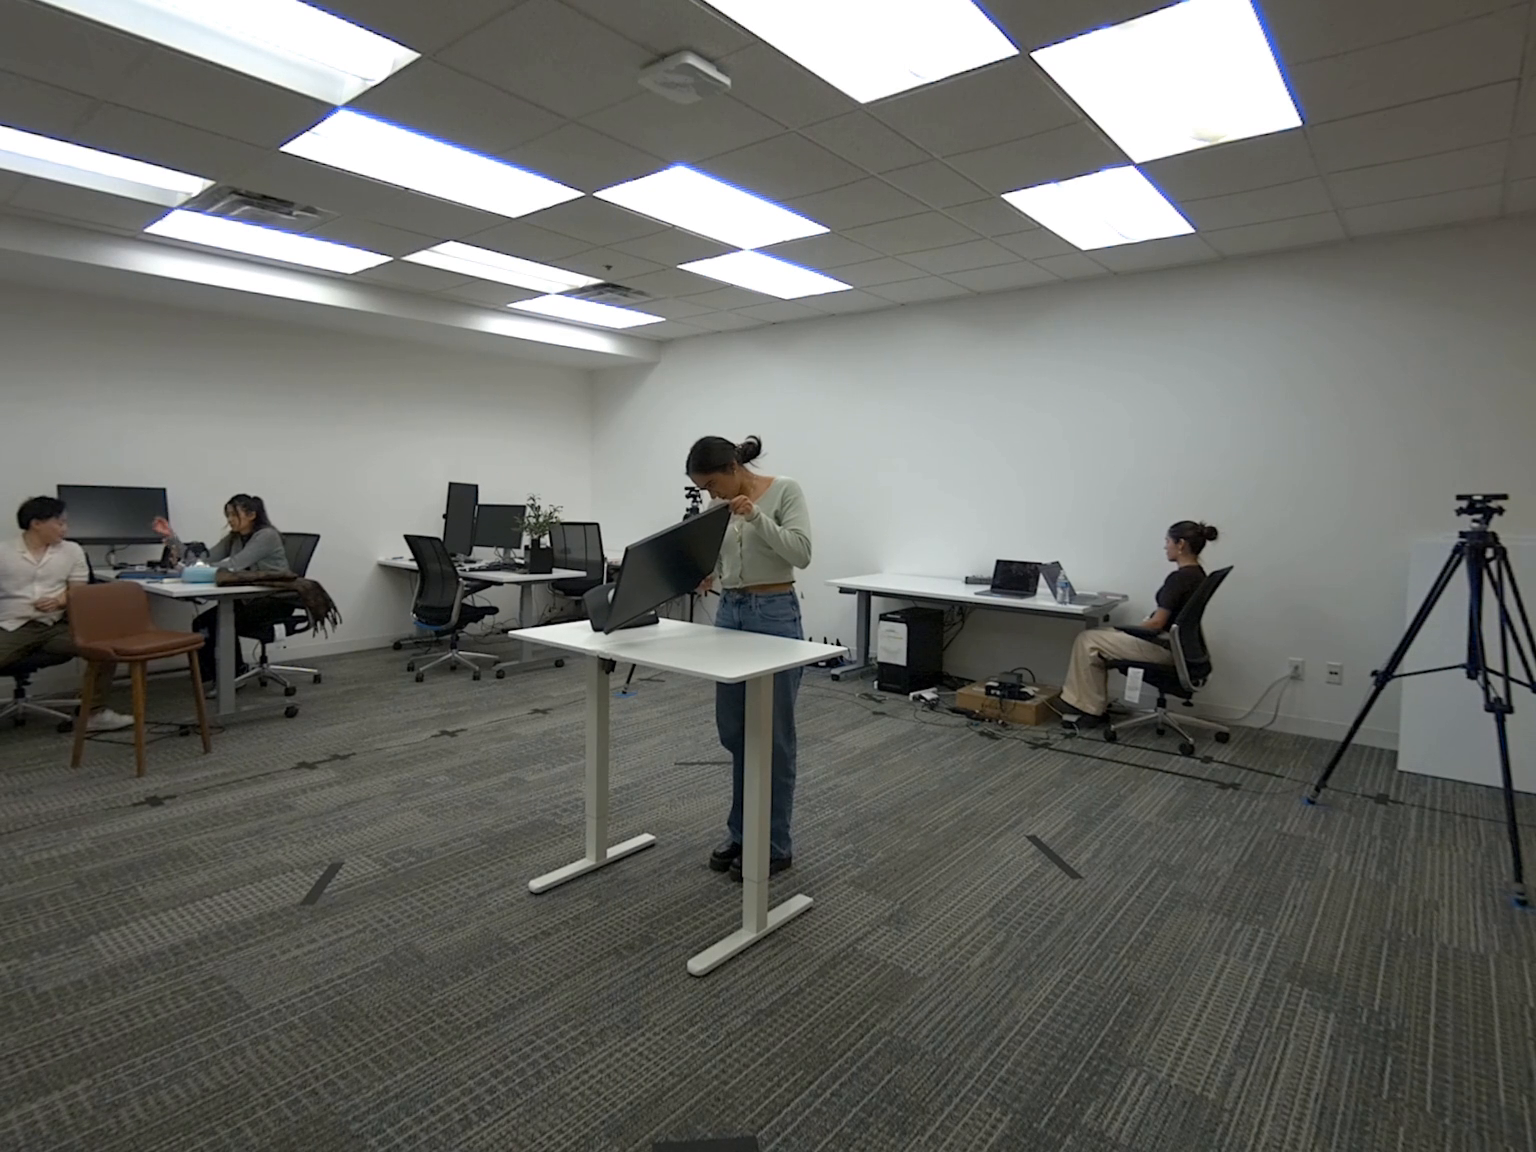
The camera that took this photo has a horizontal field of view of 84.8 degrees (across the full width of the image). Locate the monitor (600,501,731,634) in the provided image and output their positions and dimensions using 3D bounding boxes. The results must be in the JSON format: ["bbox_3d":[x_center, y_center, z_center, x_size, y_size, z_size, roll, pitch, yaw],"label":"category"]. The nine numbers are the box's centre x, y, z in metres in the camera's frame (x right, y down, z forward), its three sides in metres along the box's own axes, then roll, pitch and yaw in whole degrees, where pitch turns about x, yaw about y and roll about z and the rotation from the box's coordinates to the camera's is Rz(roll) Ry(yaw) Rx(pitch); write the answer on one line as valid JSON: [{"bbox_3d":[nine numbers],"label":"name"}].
[{"bbox_3d":[-0.412,-0.006,2.888,0.531,0.190,0.521,-29,-16,-48],"label":"monitor"}]
